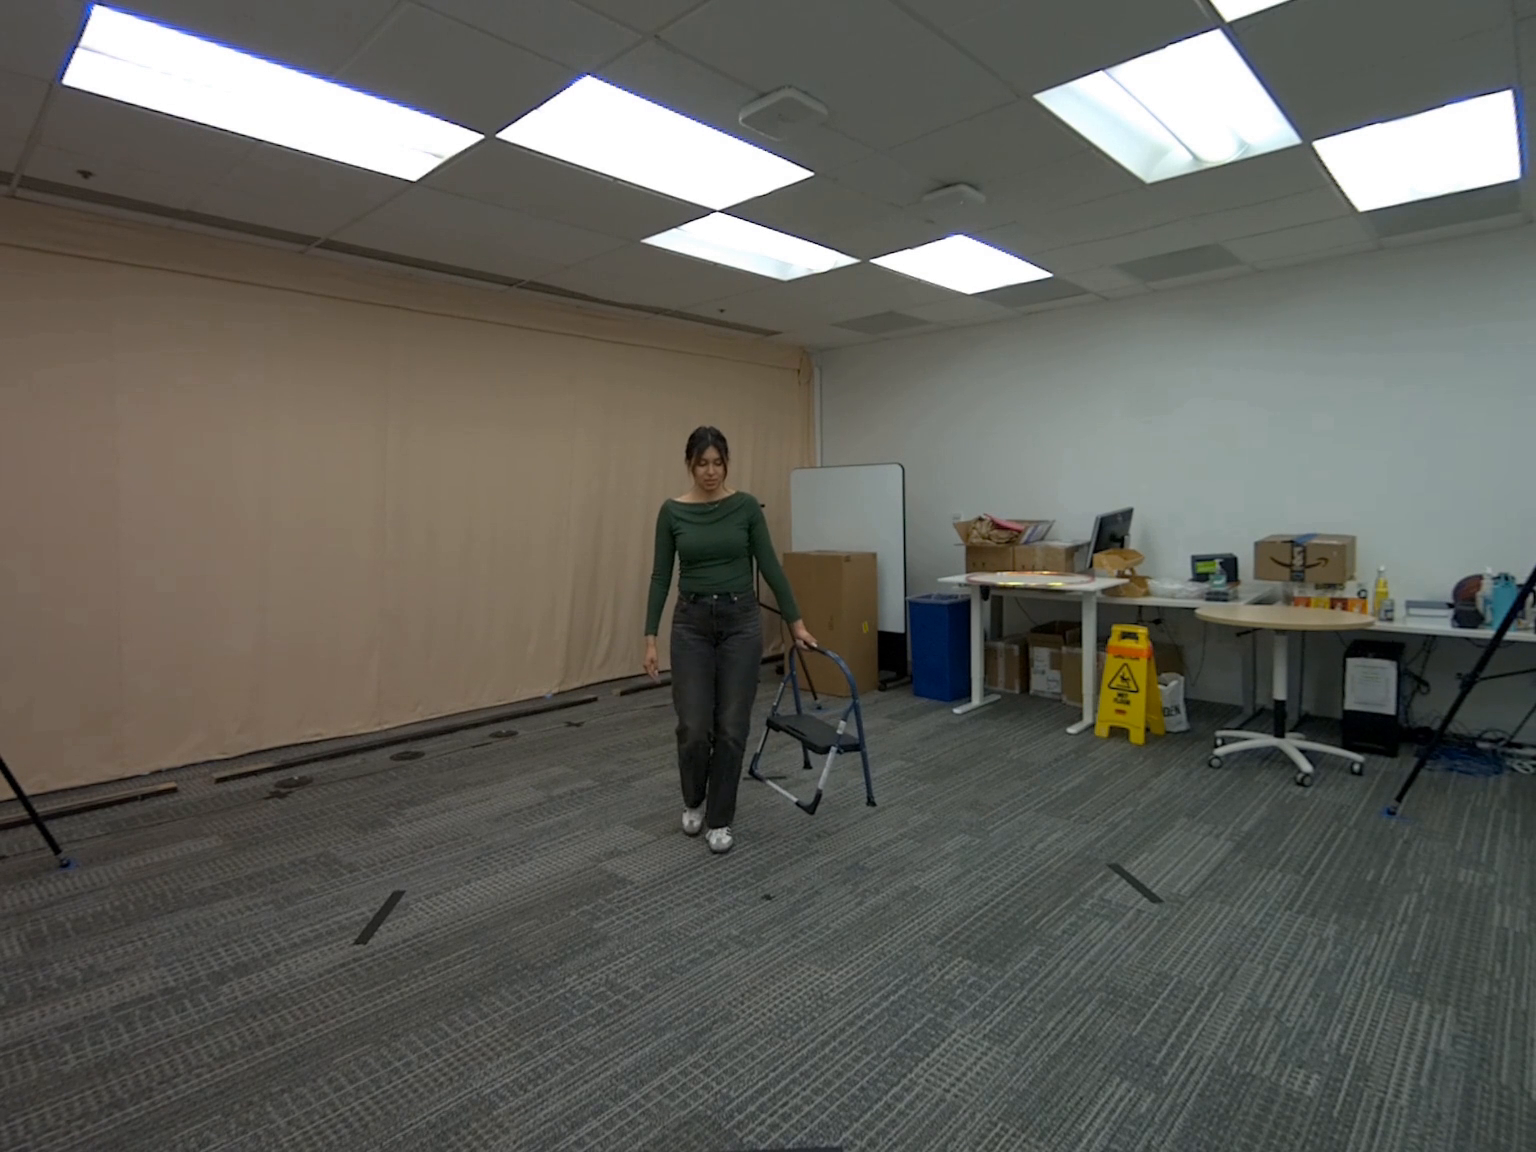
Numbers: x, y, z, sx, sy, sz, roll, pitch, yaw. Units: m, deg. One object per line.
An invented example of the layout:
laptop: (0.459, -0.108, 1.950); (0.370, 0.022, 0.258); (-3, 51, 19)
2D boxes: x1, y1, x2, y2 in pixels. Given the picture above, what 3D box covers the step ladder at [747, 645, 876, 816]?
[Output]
step ladder: (0.218, 0.580, 3.417); (0.338, 0.604, 0.446); (3, 8, -38)
